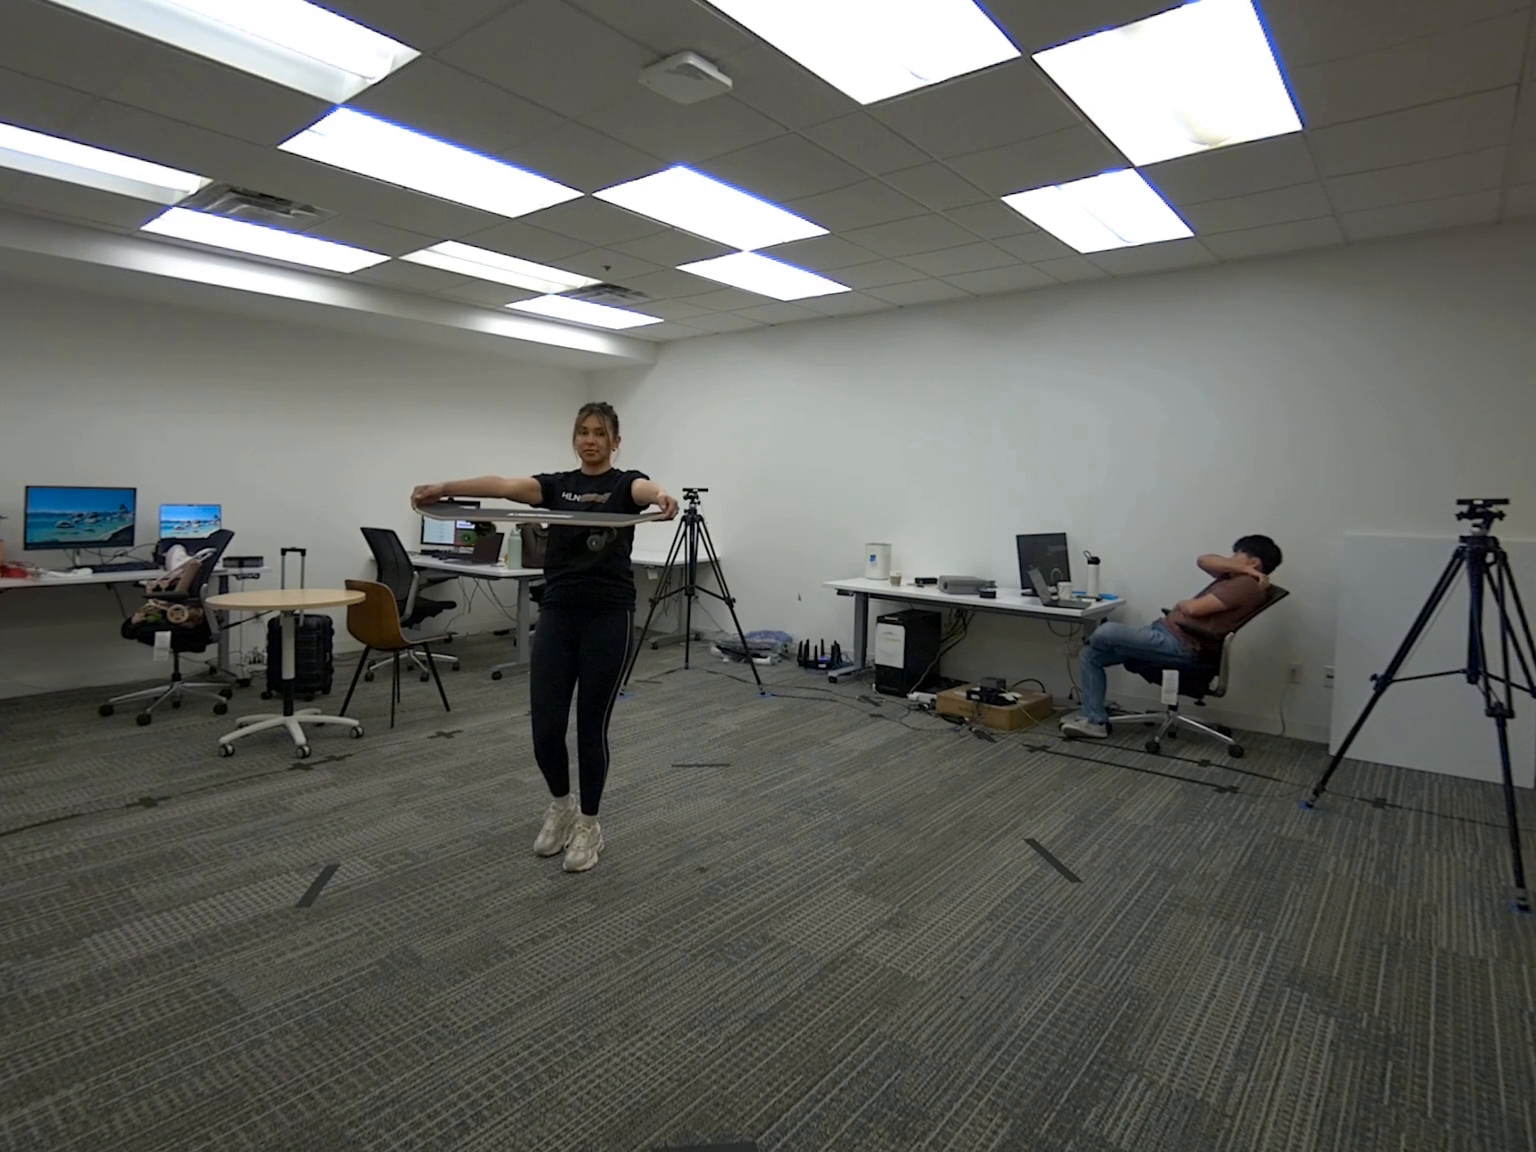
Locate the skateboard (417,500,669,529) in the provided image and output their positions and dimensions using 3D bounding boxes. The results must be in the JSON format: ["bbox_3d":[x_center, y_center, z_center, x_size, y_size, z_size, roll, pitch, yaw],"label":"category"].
[{"bbox_3d":[-0.716,-0.162,2.626,0.789,0.109,0.195,3,14,4],"label":"skateboard"}]
